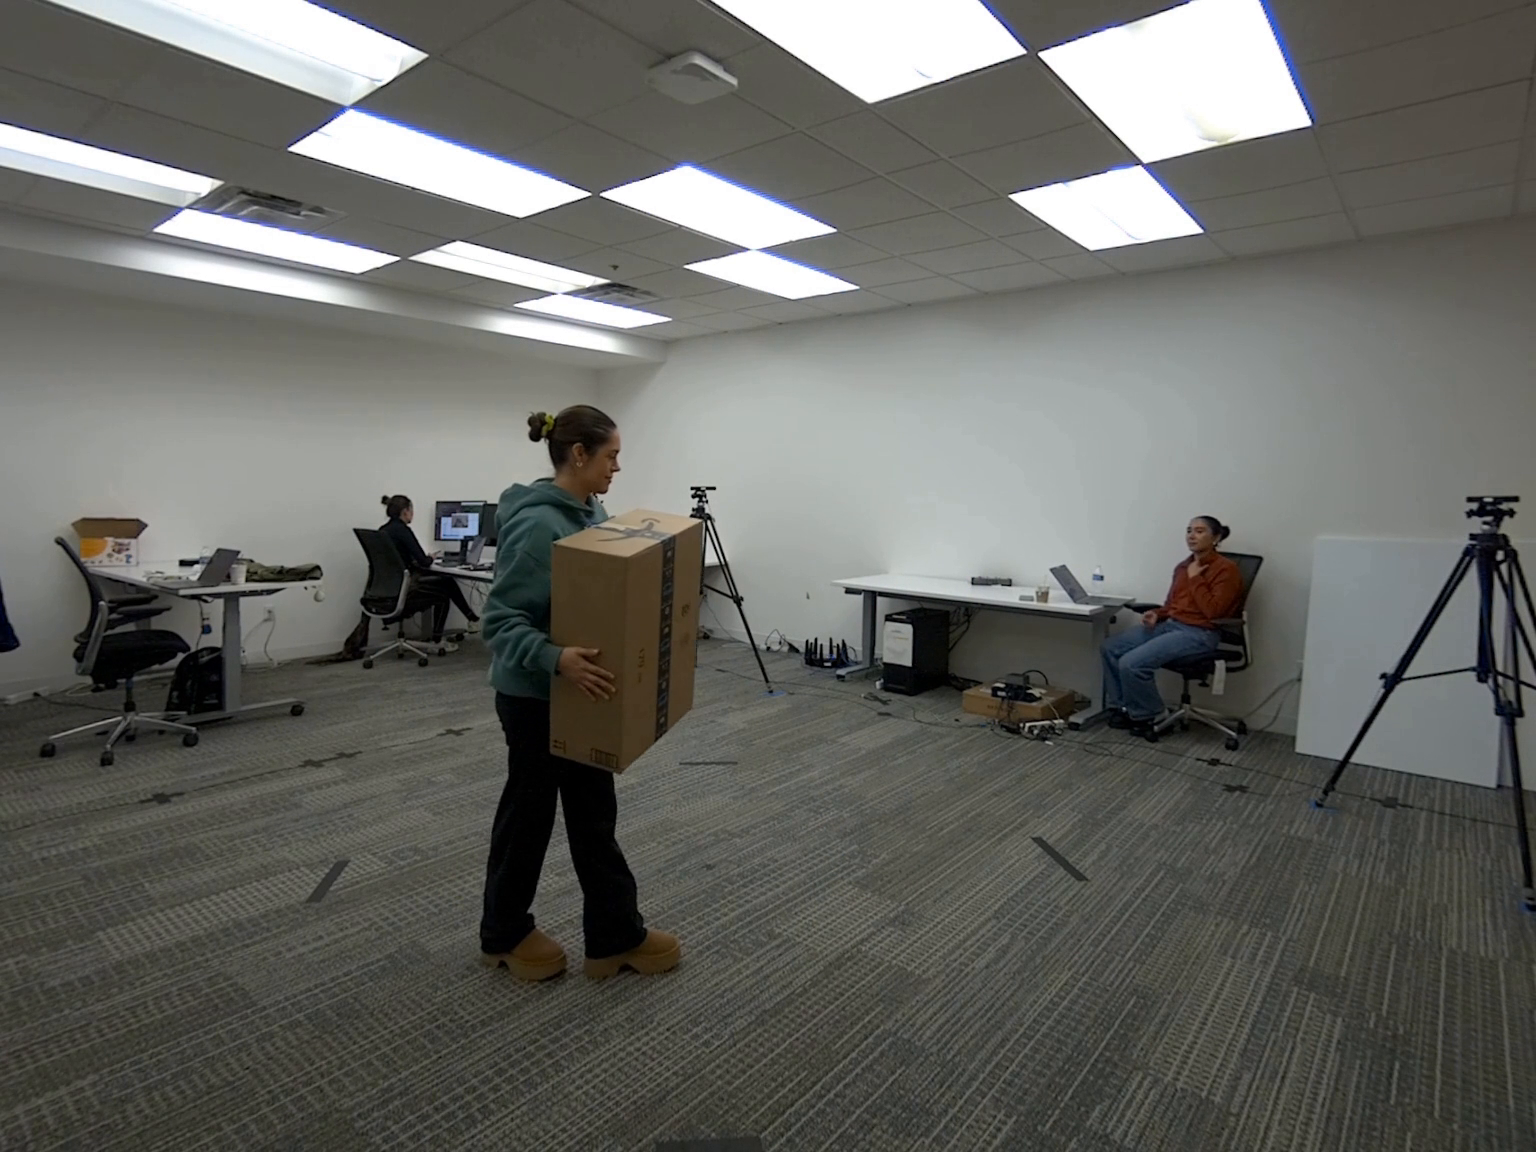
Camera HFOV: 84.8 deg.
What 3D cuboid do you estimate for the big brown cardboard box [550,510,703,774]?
[{"bbox_3d":[-0.376,0.150,2.259,0.239,0.581,0.413,11,16,20],"label":"big brown cardboard box"}]
